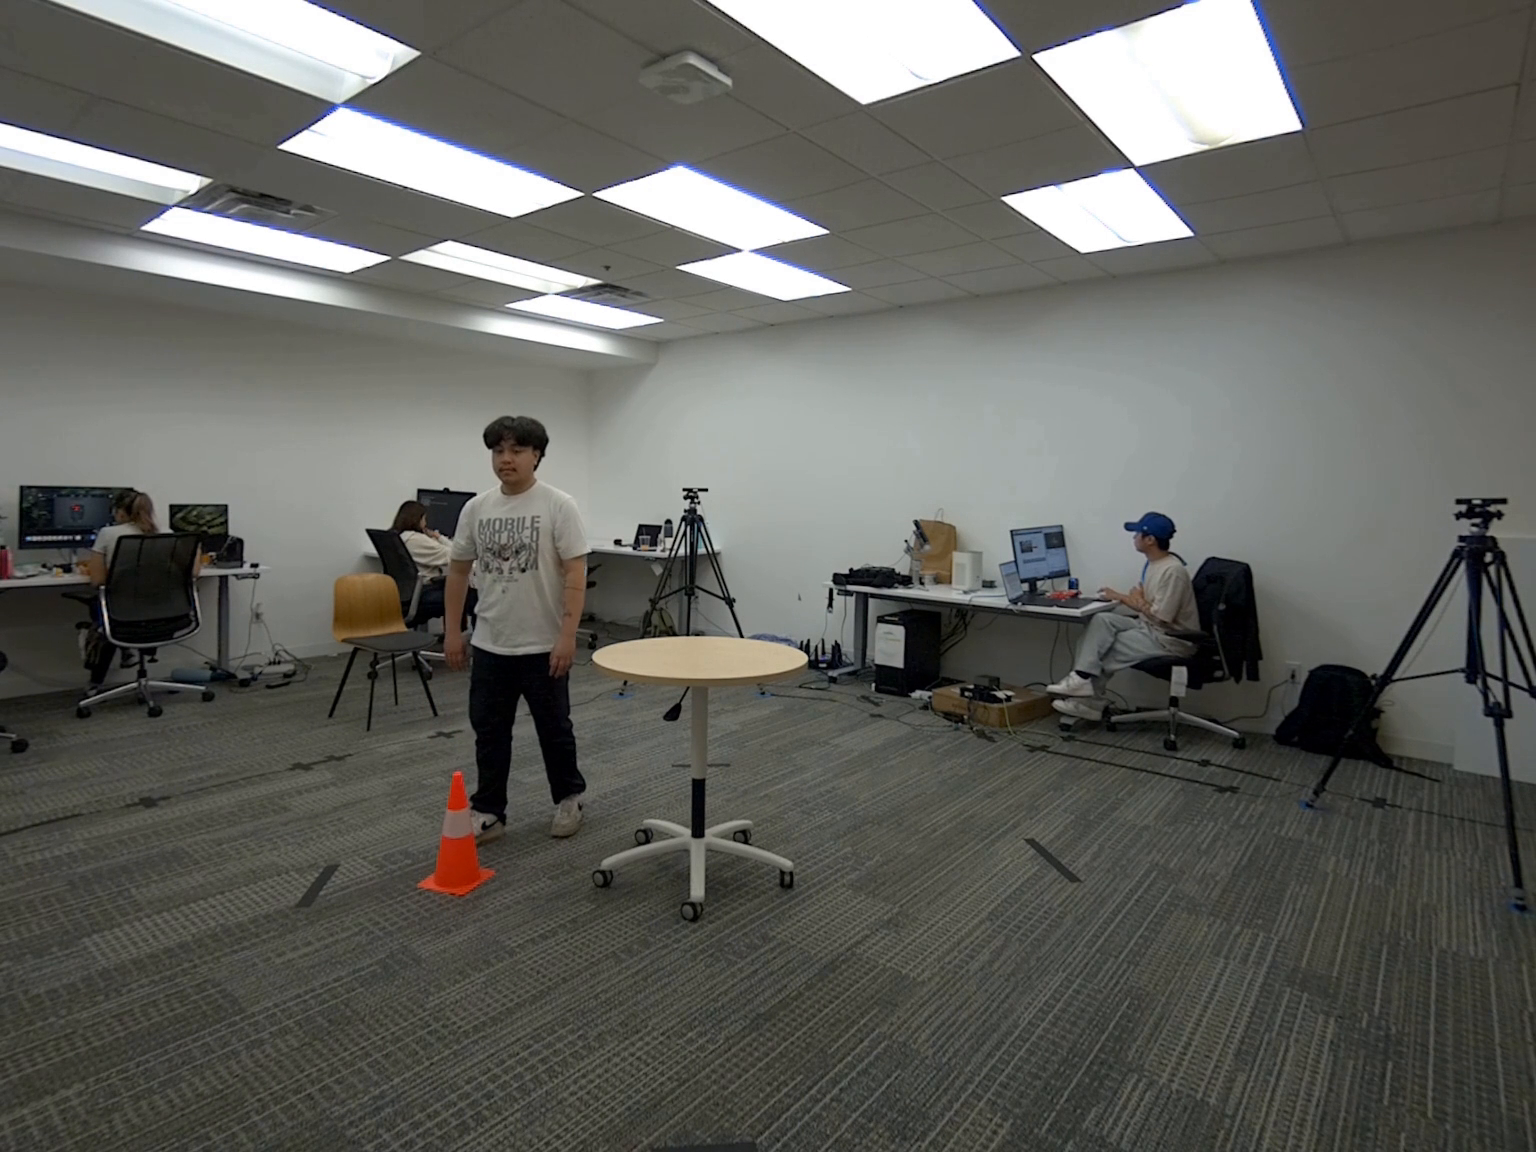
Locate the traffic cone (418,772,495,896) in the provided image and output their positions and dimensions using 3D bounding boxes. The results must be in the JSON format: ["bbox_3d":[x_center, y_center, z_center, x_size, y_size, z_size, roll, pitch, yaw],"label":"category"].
[{"bbox_3d":[-1.116,0.882,2.988,0.209,0.382,0.200,3,5,27],"label":"traffic cone"}]
